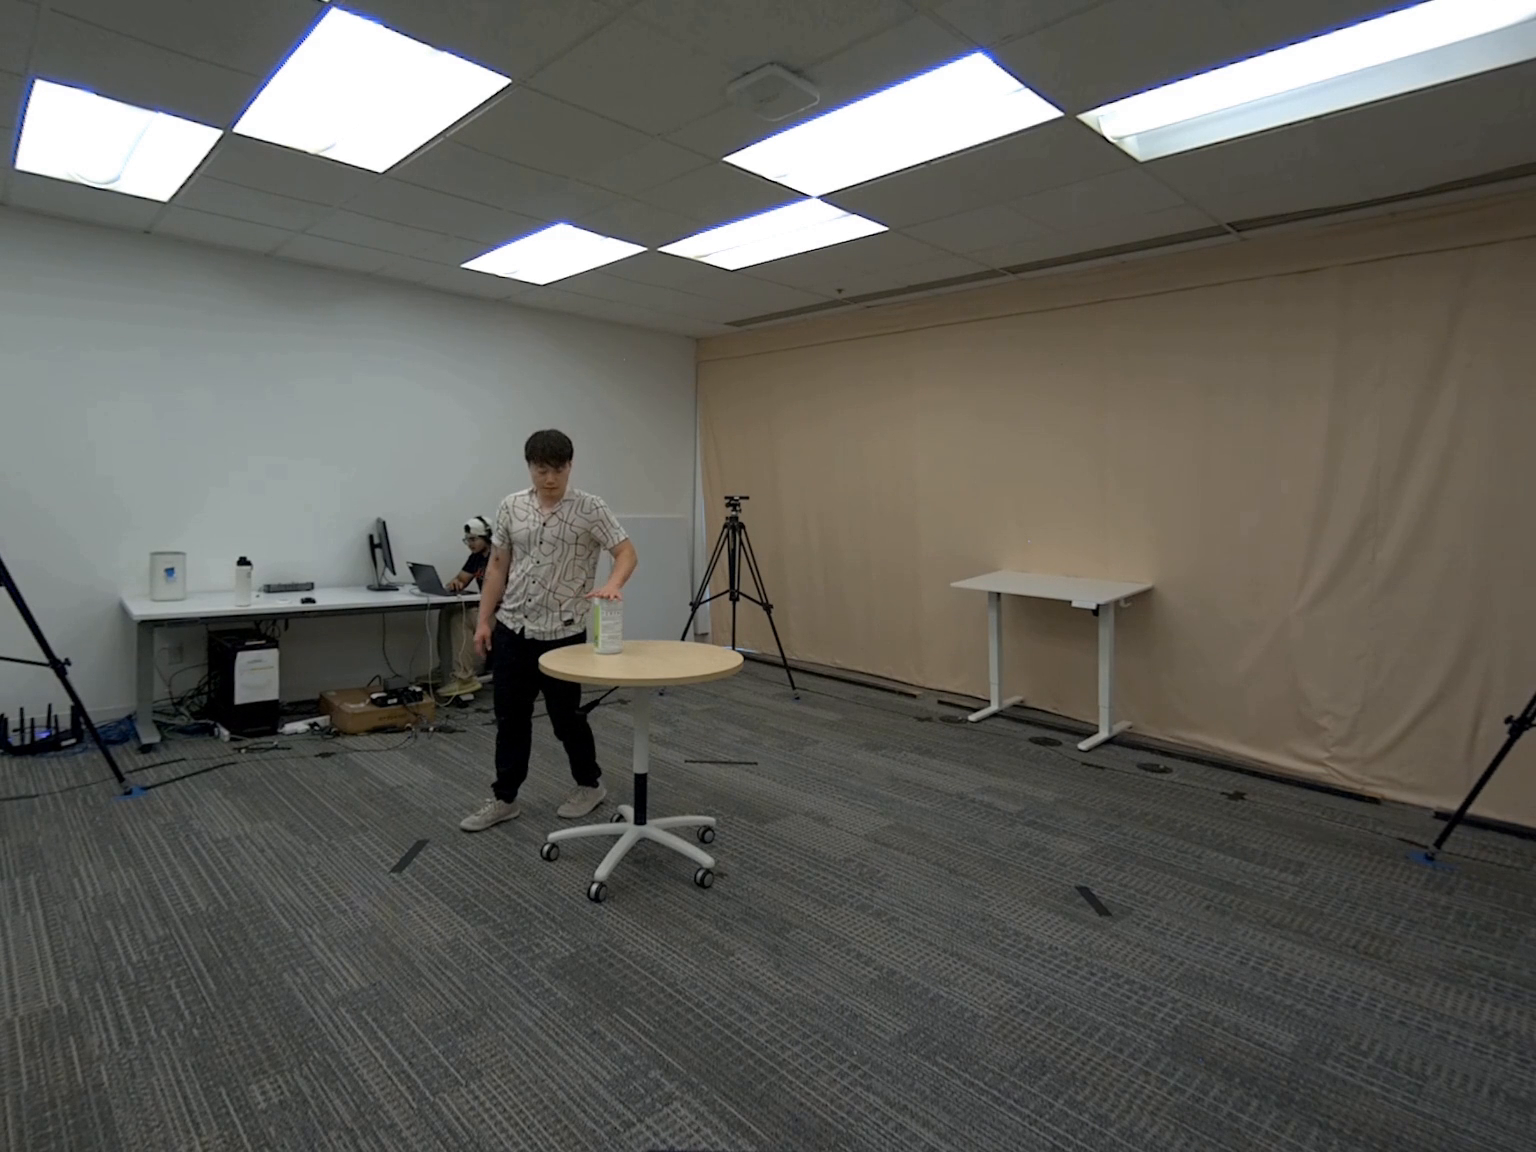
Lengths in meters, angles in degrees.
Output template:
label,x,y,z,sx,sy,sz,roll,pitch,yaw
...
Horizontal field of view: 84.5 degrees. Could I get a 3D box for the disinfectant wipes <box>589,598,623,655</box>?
label,x,y,z,sx,sy,sz,roll,pitch,yaw
disinfectant wipes,-0.632,0.194,3.269,0.118,0.217,0.118,0,1,-1
